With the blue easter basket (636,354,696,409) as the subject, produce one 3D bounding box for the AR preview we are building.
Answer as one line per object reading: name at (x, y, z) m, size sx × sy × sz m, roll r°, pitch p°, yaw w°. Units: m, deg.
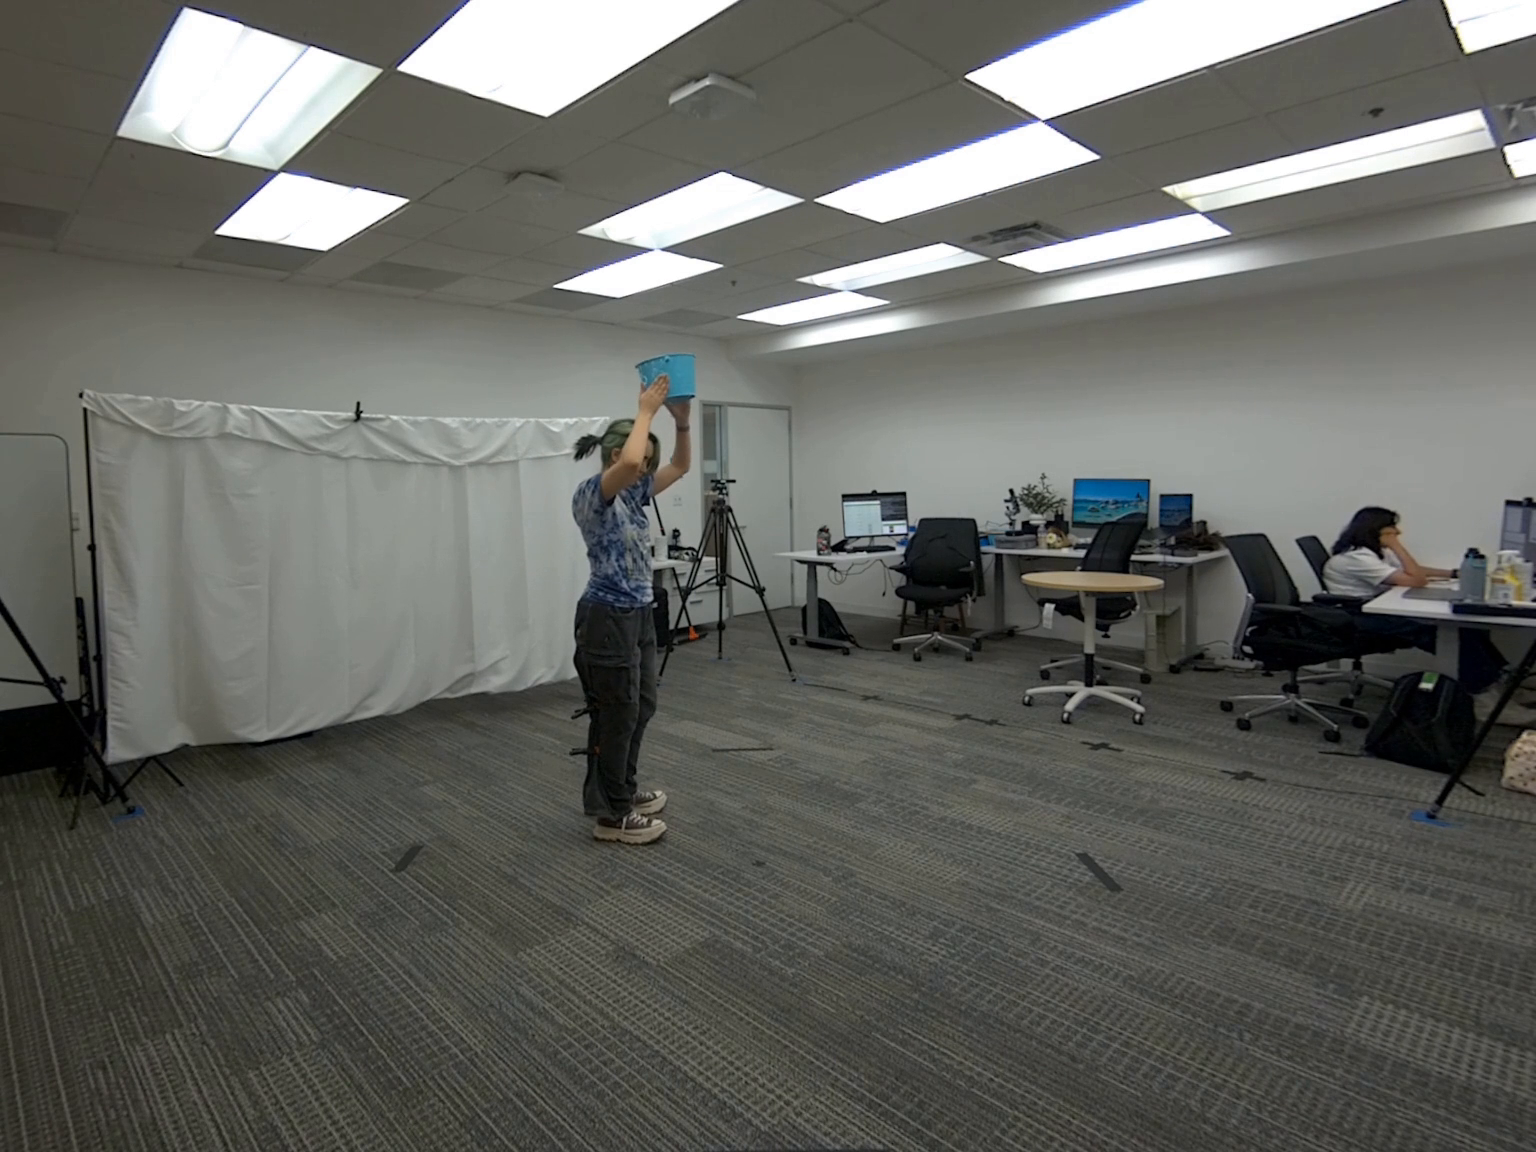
blue easter basket at (-0.388, -0.746, 3.291) m, size 0.243 × 0.155 × 0.244 m, roll -10°, pitch 4°, yaw -1°
